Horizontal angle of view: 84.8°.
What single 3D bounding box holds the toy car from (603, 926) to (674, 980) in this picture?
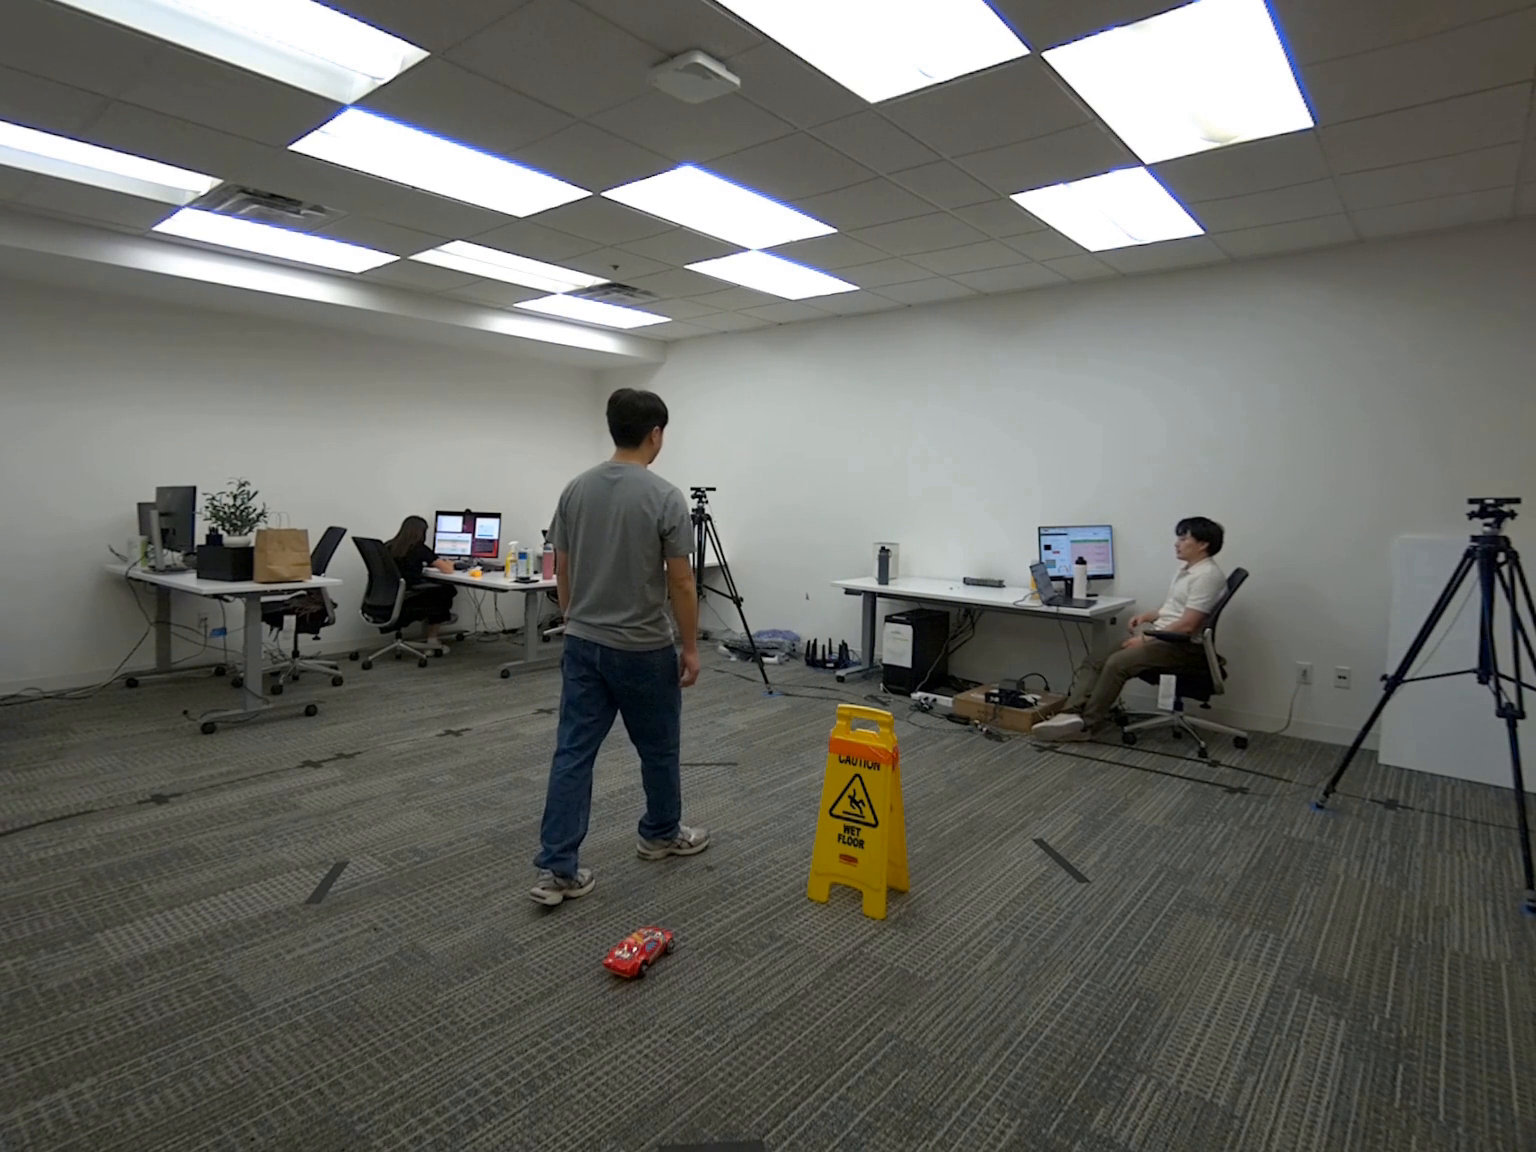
[{"bbox_3d":[-0.390,1.093,2.471,0.134,0.083,0.247,5,-4,26],"label":"toy car"}]
